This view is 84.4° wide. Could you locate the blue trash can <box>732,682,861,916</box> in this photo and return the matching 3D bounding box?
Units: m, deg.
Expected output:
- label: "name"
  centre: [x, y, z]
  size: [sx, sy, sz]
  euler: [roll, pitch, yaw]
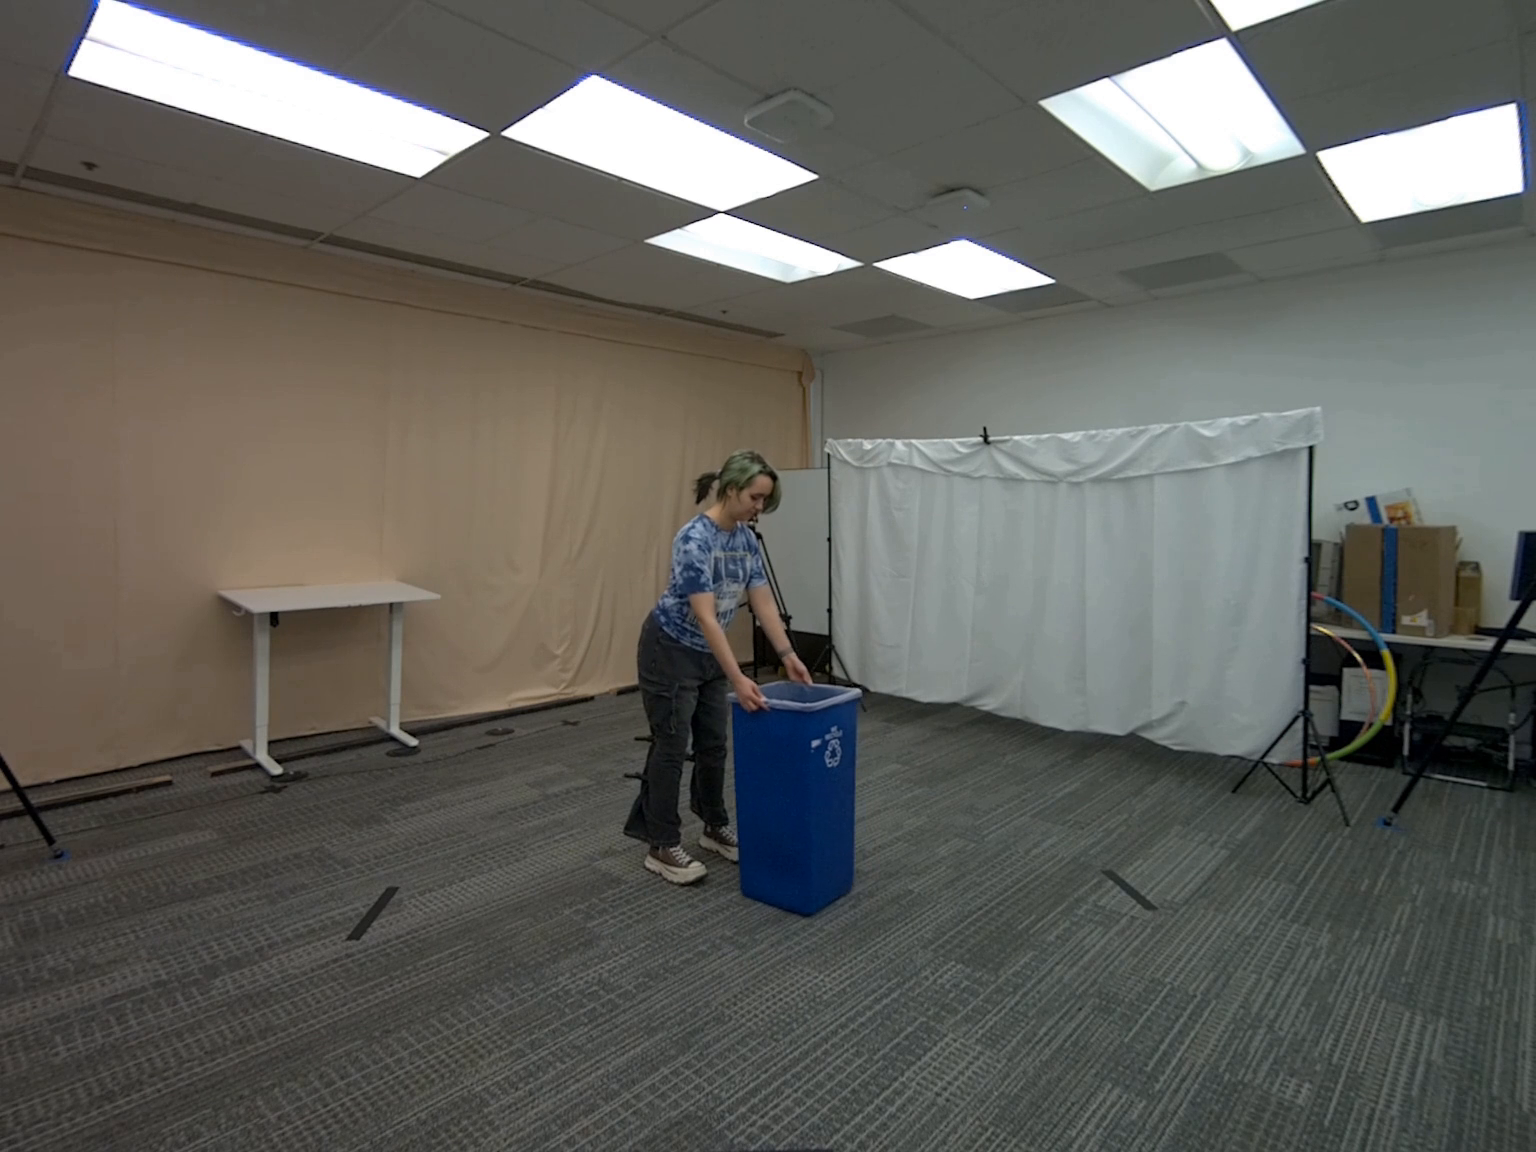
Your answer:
- label: "blue trash can"
  centre: [0.105, 0.773, 3.036]
  size: [0.390, 0.712, 0.363]
  euler: [1, 3, 37]
